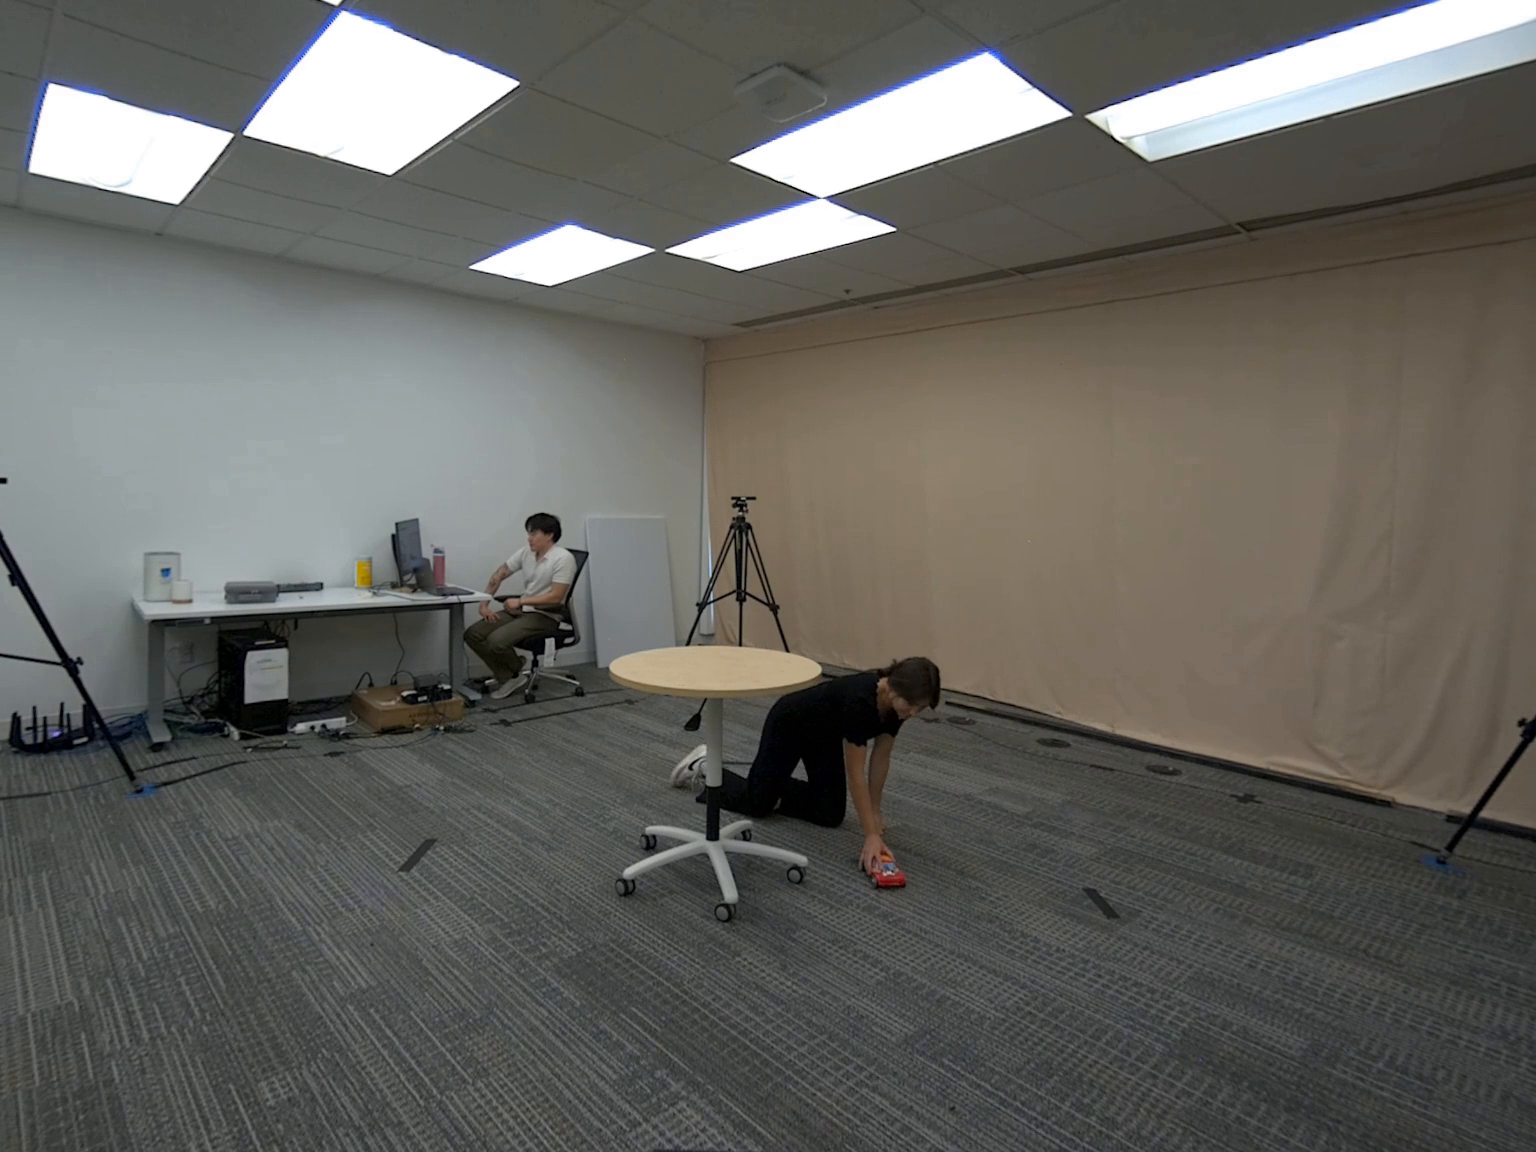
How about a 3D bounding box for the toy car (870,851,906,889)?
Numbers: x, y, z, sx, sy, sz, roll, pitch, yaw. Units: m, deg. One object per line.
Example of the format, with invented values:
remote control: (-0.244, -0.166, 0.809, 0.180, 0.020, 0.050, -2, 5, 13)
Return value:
toy car: (0.414, 1.086, 3.139, 0.129, 0.082, 0.259, 1, 17, -10)
